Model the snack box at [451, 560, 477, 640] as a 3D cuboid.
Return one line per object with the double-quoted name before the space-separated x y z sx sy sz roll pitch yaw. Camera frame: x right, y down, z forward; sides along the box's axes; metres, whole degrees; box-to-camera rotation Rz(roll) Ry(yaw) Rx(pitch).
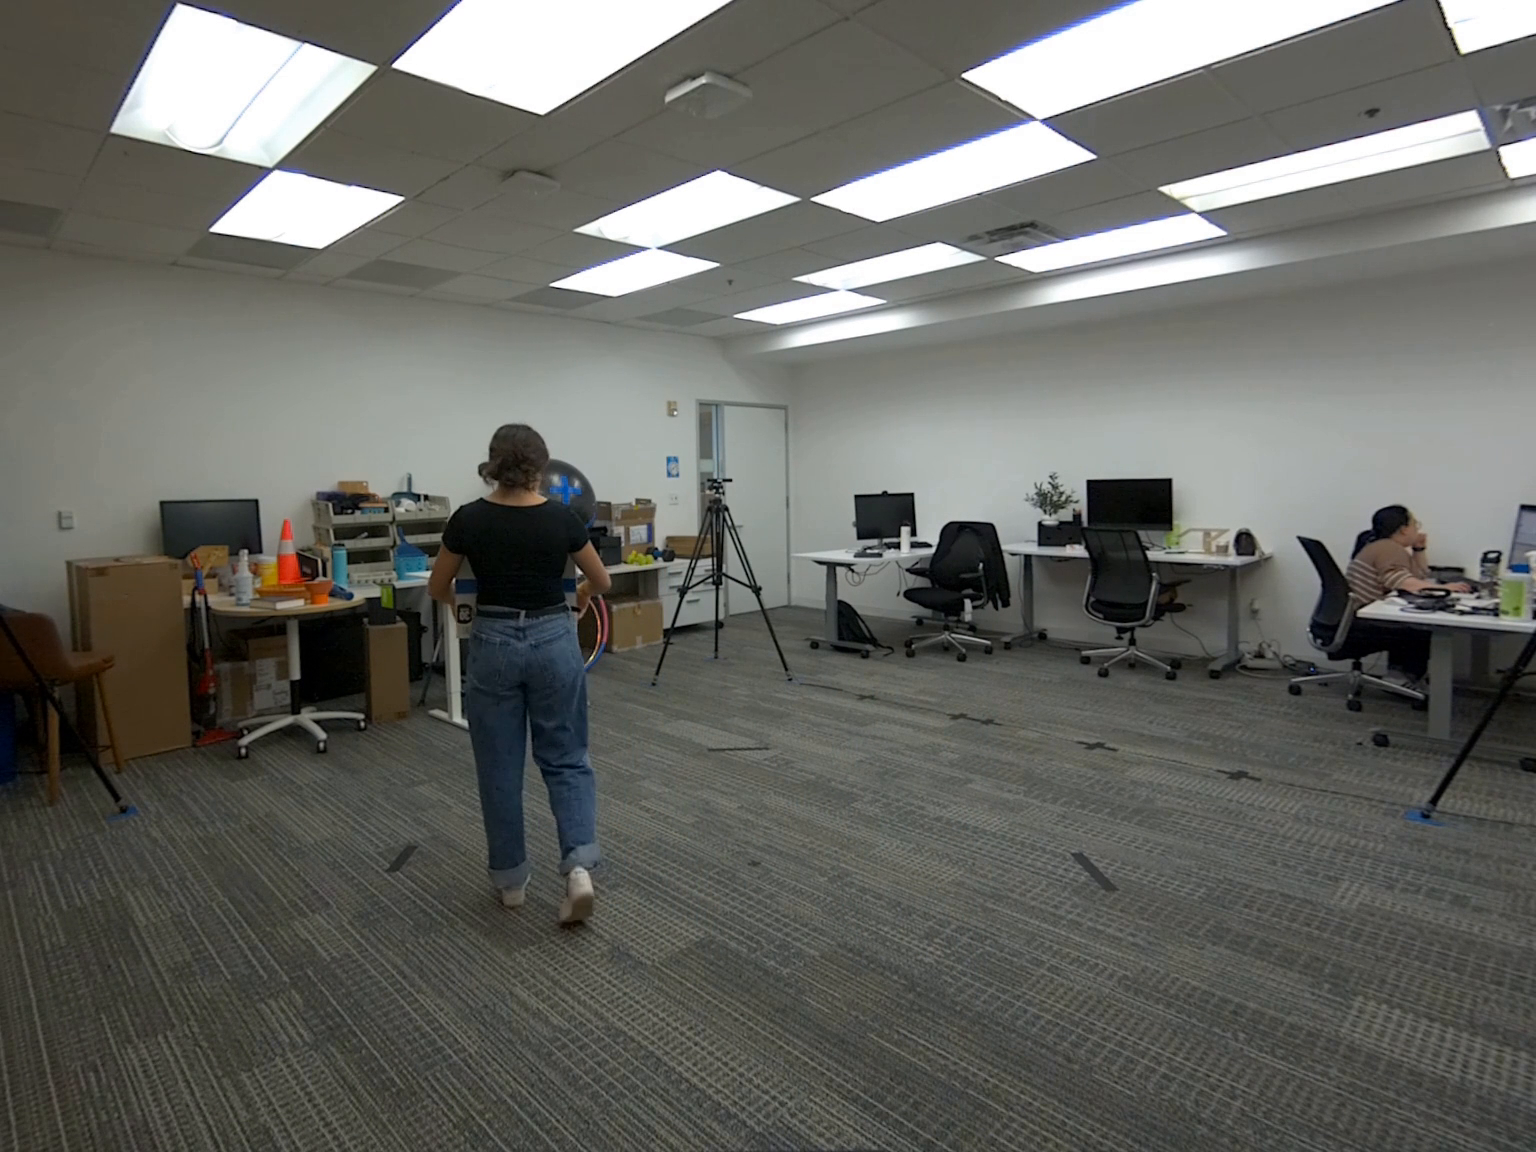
"snack box" -0.865 0.021 2.986 0.402 0.338 0.208 0 8 -8
